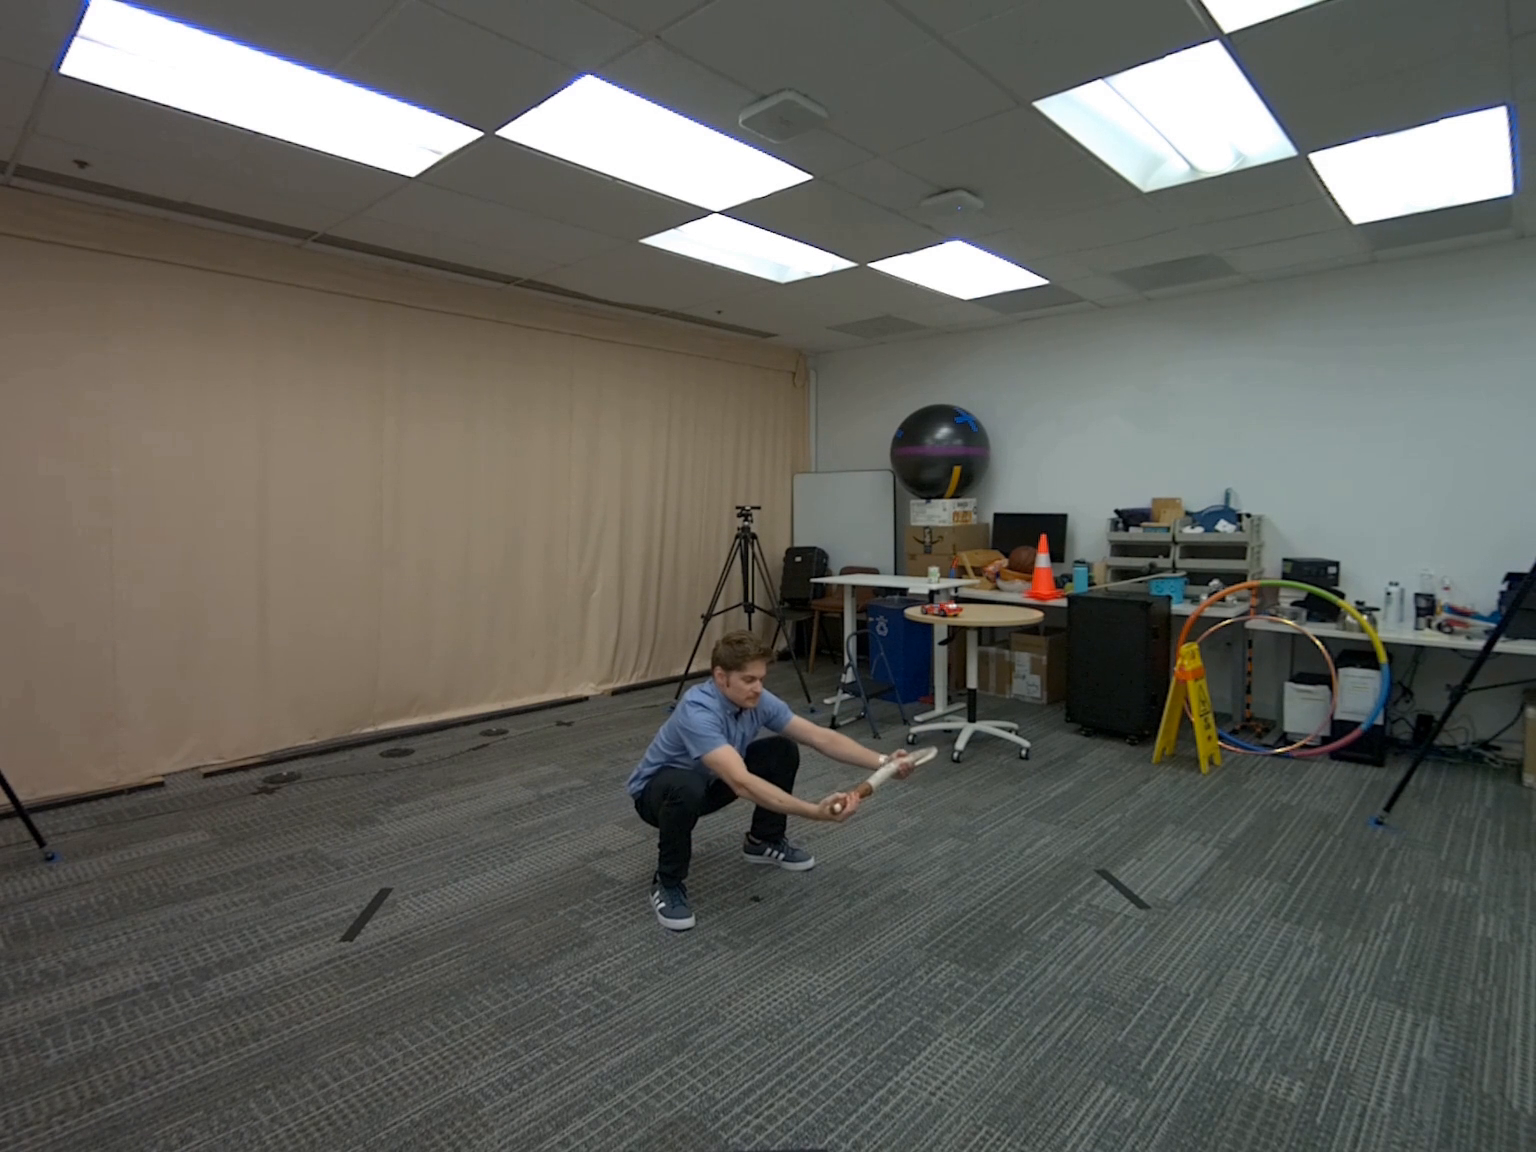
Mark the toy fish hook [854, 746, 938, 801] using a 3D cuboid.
[{"bbox_3d":[0.375,0.648,2.704,0.227,0.049,0.493,-37,-14,38],"label":"toy fish hook"}]
